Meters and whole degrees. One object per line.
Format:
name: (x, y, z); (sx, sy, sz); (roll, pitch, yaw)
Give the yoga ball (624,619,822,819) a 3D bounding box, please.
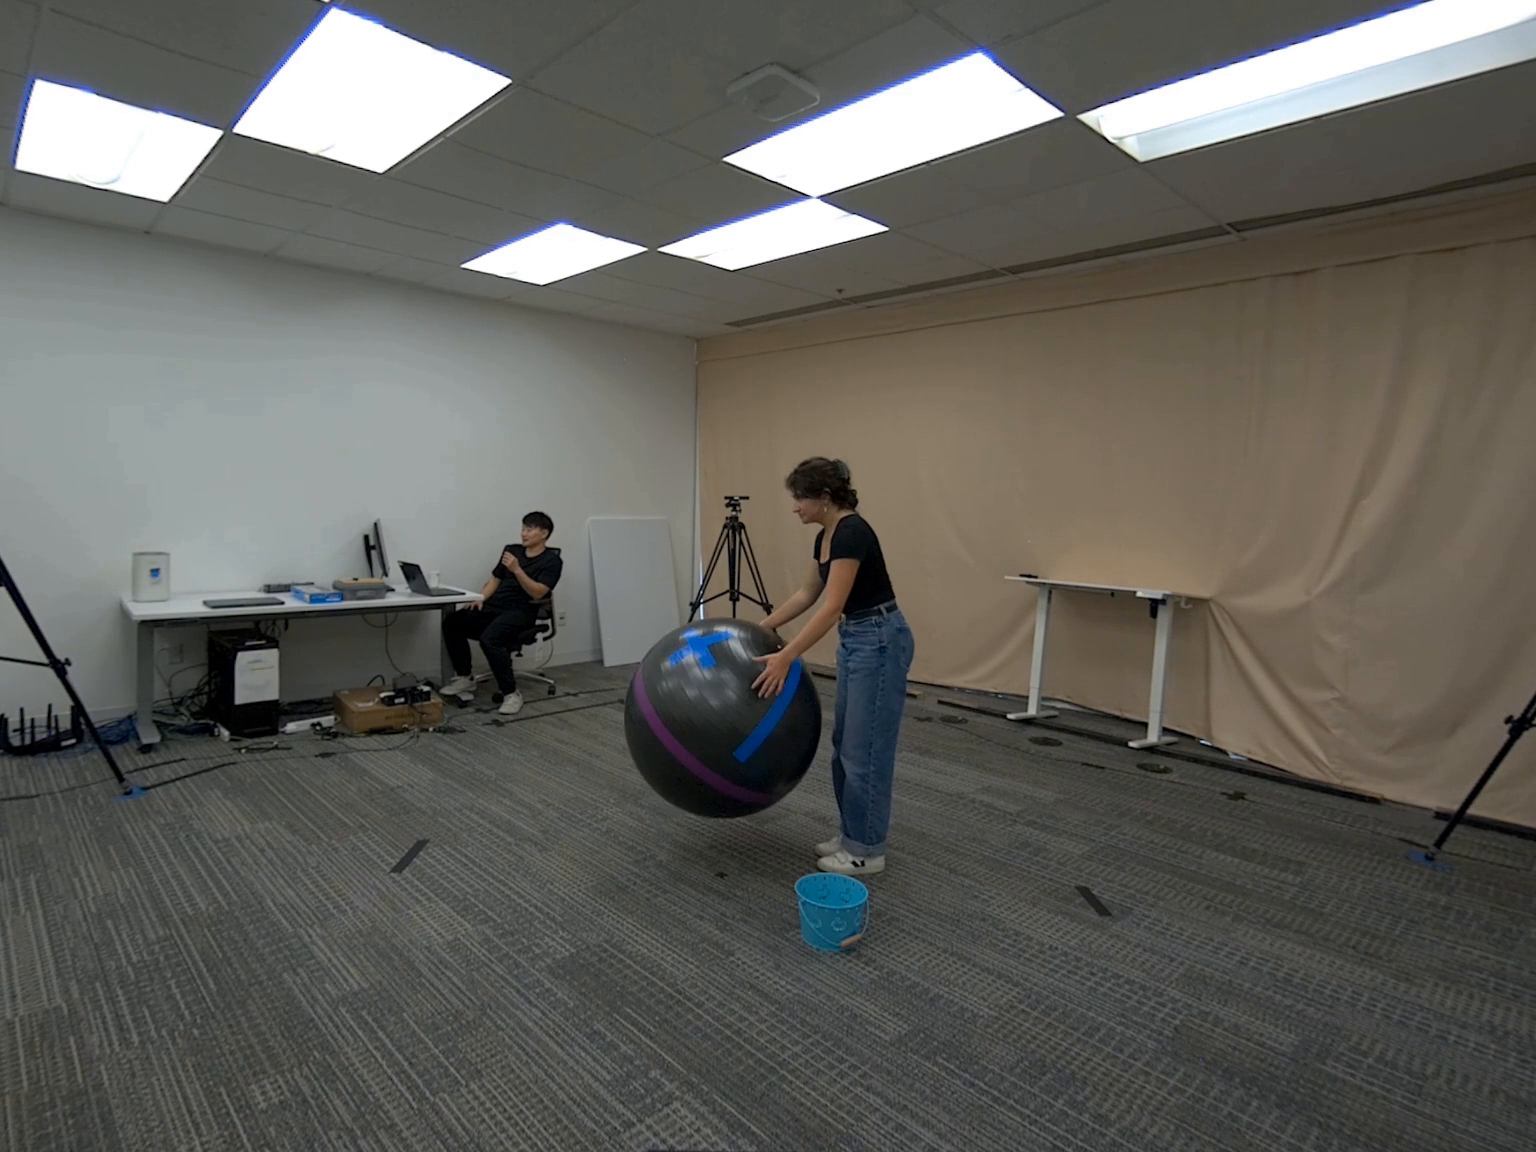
yoga ball: (-0.187, 0.575, 3.254); (0.757, 0.756, 0.761); (1, 4, -1)
